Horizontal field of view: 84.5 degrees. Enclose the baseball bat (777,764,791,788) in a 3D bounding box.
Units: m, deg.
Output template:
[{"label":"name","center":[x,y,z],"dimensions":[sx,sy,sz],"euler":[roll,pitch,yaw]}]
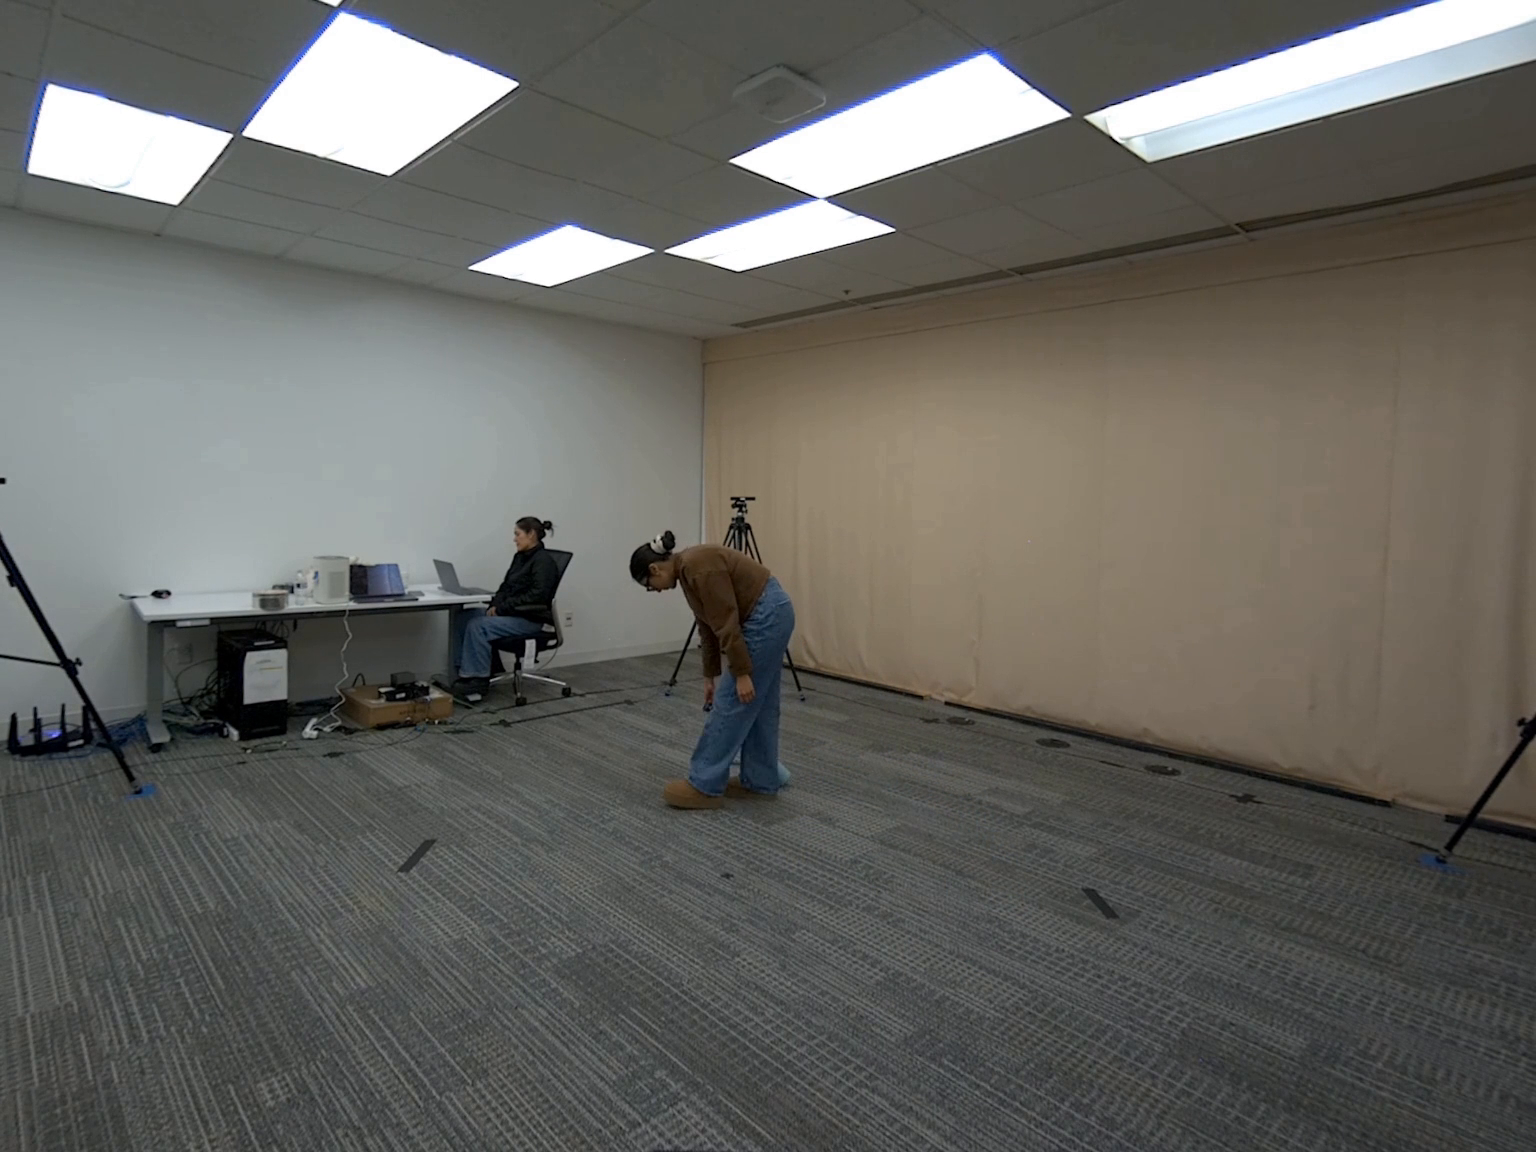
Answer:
[{"label":"baseball bat","center":[-0.114,0.826,4.117],"dimensions":[0.543,0.089,0.089],"euler":[43,4,0]}]
